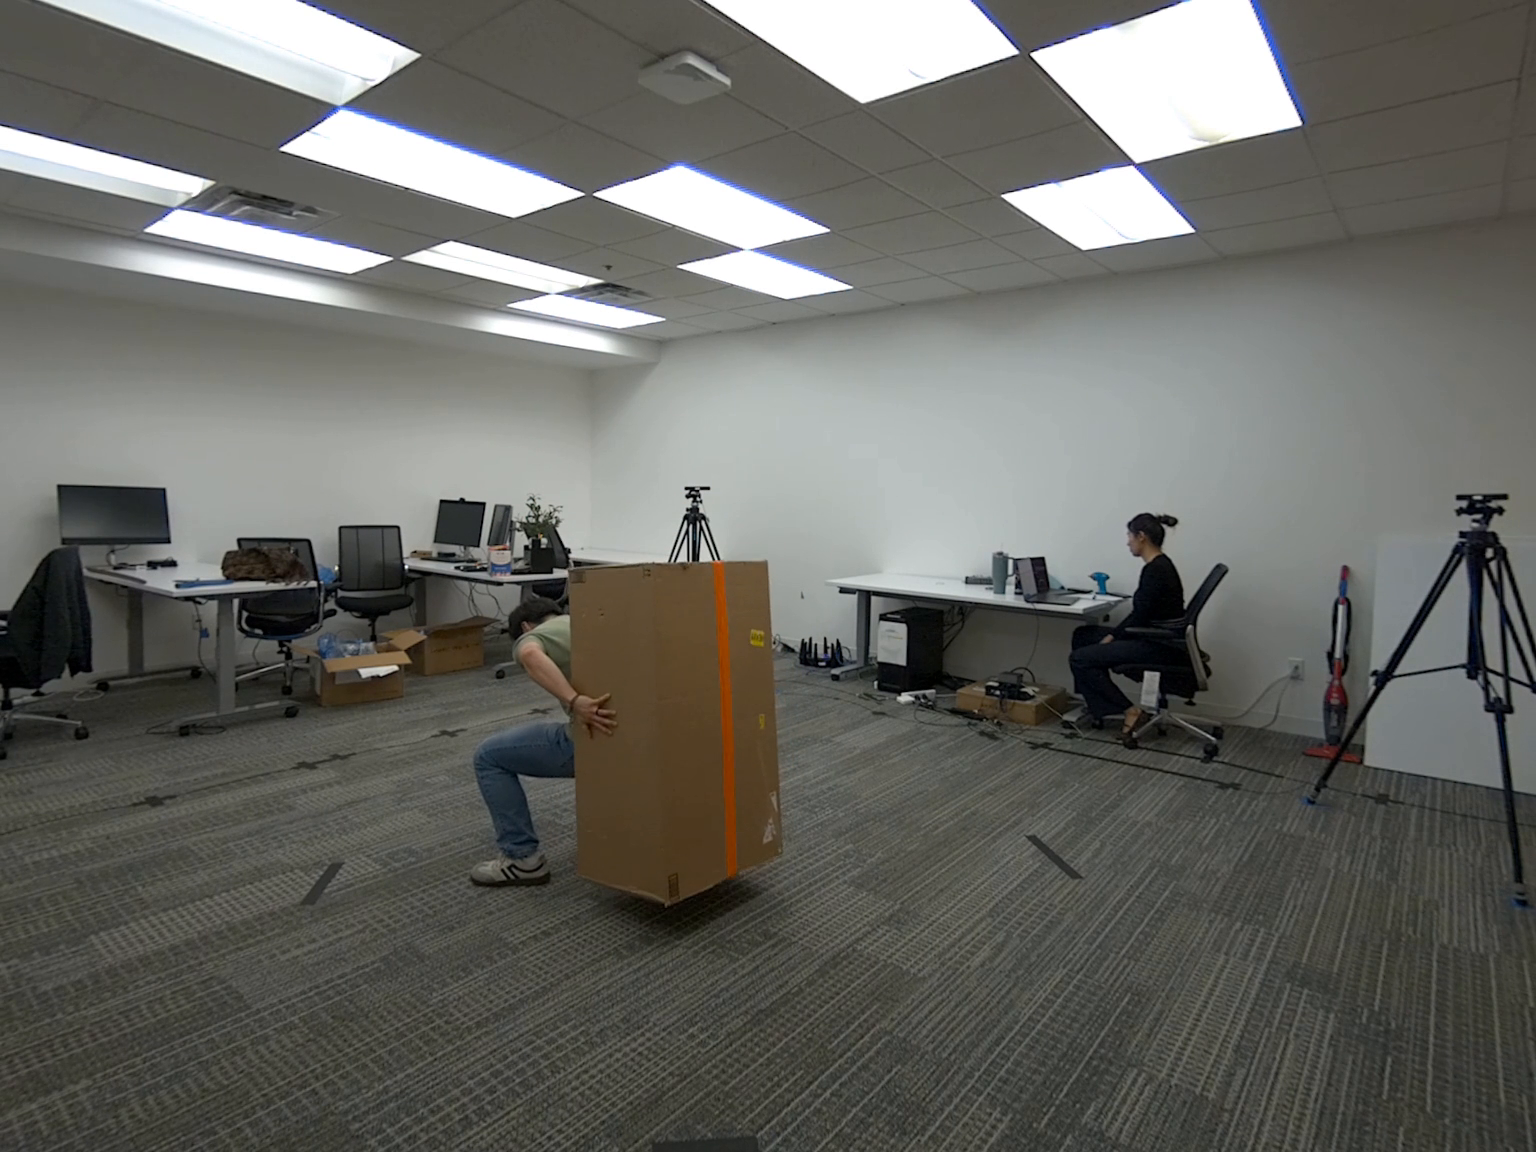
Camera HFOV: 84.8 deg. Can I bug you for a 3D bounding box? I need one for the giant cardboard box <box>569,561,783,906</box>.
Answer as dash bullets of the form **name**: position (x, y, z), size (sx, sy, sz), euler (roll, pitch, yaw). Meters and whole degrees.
- **giant cardboard box**: position (-0.314, 0.473, 2.906), size (0.438, 1.029, 0.559), euler (-6, -4, 39)
